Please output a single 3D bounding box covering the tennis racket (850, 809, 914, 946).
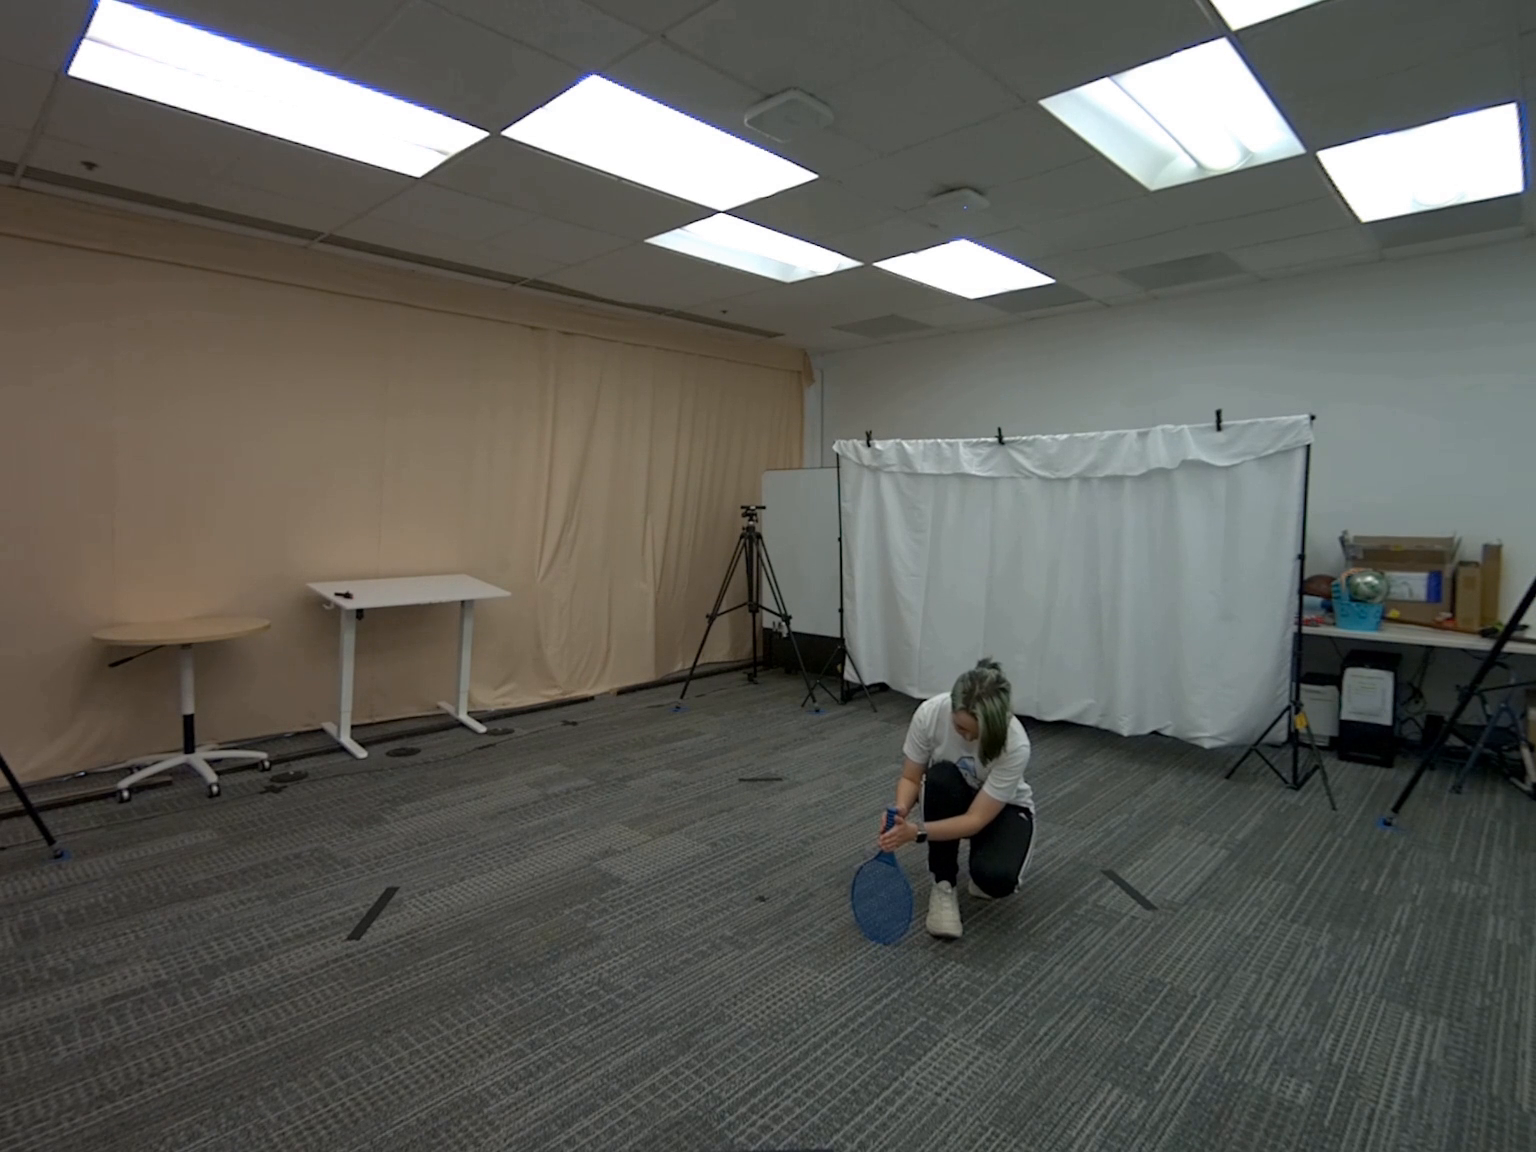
[{"bbox_3d":[0.375,0.955,2.678,0.221,0.432,0.031,7,3,35],"label":"tennis racket"}]
